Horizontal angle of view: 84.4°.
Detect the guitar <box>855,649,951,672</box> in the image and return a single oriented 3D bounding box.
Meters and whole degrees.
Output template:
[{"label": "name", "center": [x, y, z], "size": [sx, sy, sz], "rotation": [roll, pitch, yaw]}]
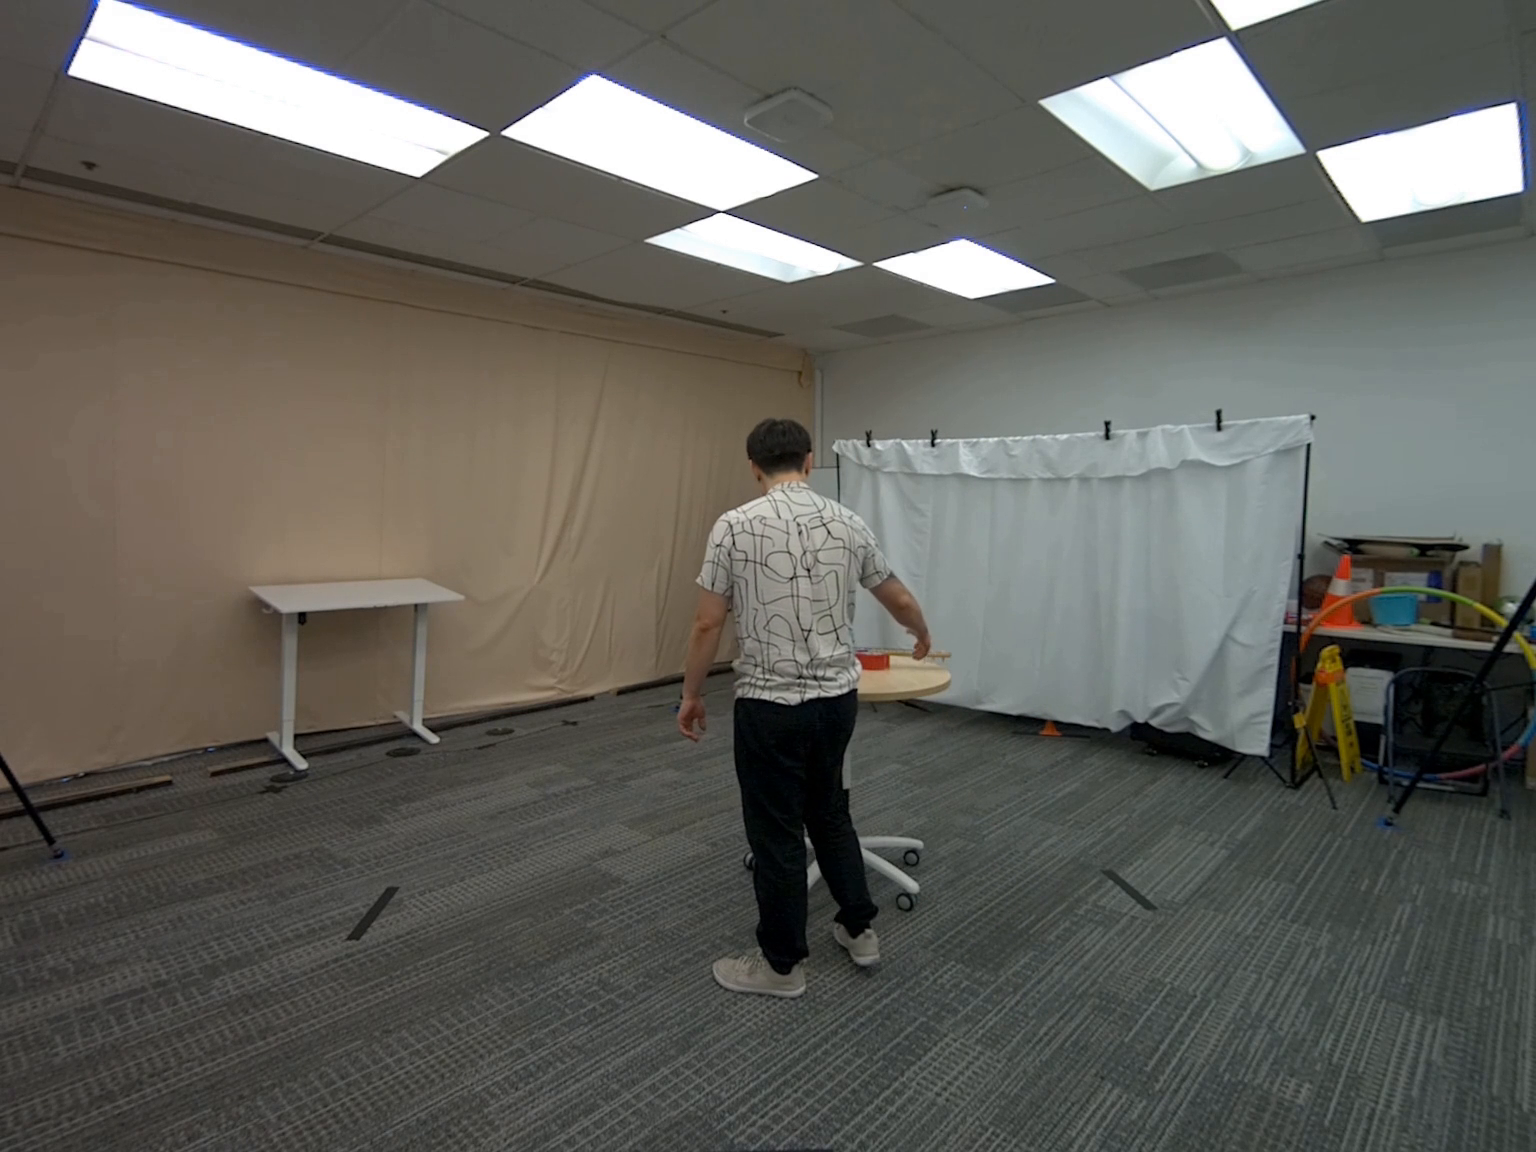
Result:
[{"label": "guitar", "center": [0.439, 0.314, 3.139], "size": [0.508, 0.070, 0.189], "rotation": [1, 4, 20]}]
